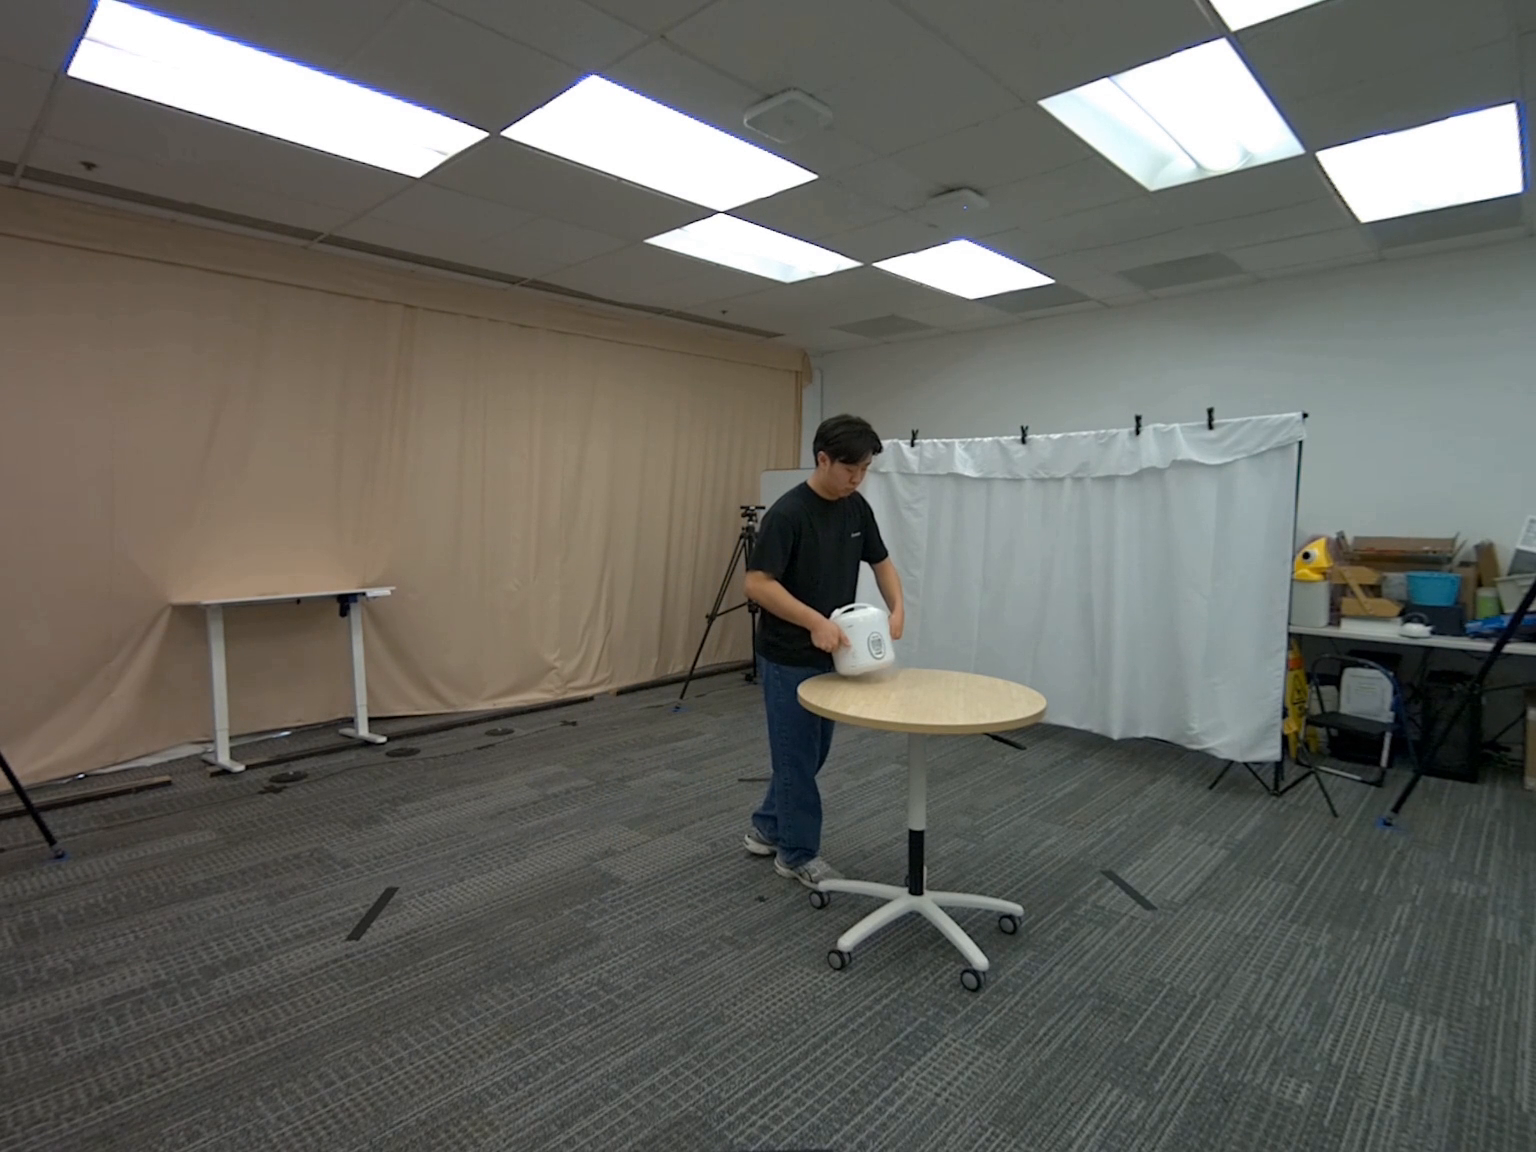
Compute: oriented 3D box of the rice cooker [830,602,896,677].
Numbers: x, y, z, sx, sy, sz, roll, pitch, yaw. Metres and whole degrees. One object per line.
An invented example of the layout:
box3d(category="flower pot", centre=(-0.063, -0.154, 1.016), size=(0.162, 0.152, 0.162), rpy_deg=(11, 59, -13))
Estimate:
box3d(category="rice cooker", centre=(0.321, 0.209, 2.868), size=(0.216, 0.234, 0.220), rpy_deg=(-11, -6, -21))
